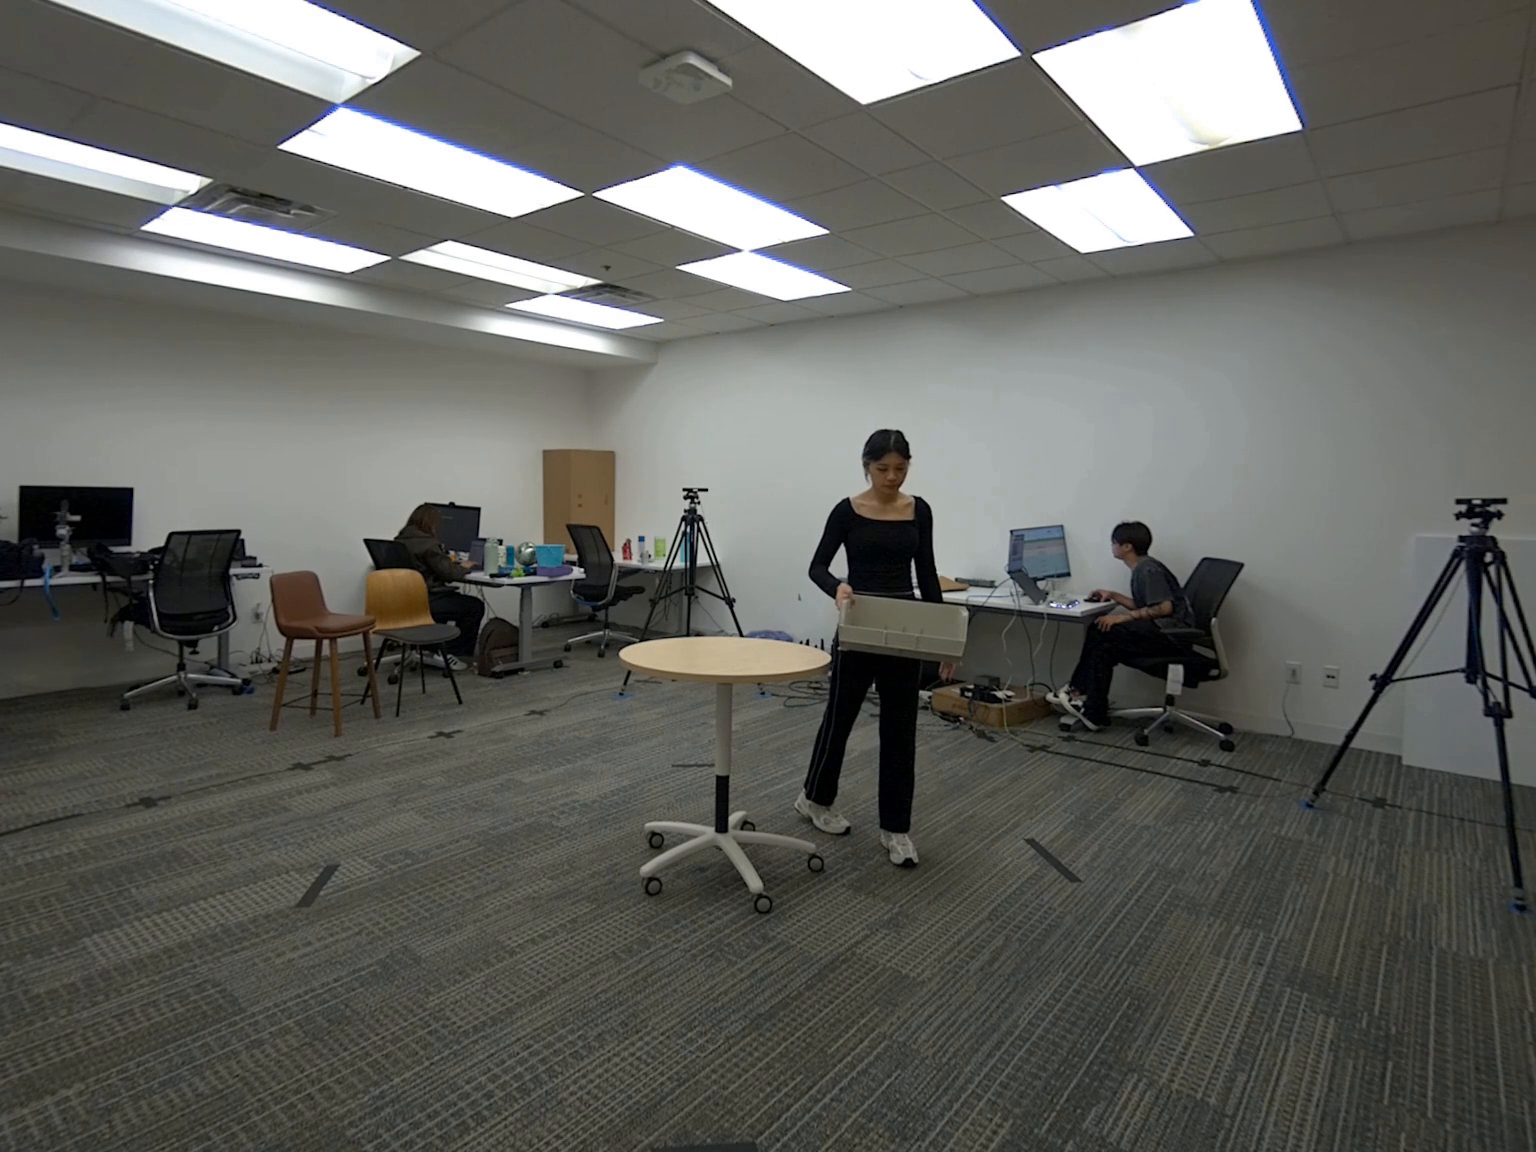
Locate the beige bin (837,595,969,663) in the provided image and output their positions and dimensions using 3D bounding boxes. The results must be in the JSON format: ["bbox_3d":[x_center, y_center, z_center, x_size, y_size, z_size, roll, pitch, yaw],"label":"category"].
[{"bbox_3d":[0.467,0.184,2.990,0.429,0.189,0.371,5,1,13],"label":"beige bin"}]
